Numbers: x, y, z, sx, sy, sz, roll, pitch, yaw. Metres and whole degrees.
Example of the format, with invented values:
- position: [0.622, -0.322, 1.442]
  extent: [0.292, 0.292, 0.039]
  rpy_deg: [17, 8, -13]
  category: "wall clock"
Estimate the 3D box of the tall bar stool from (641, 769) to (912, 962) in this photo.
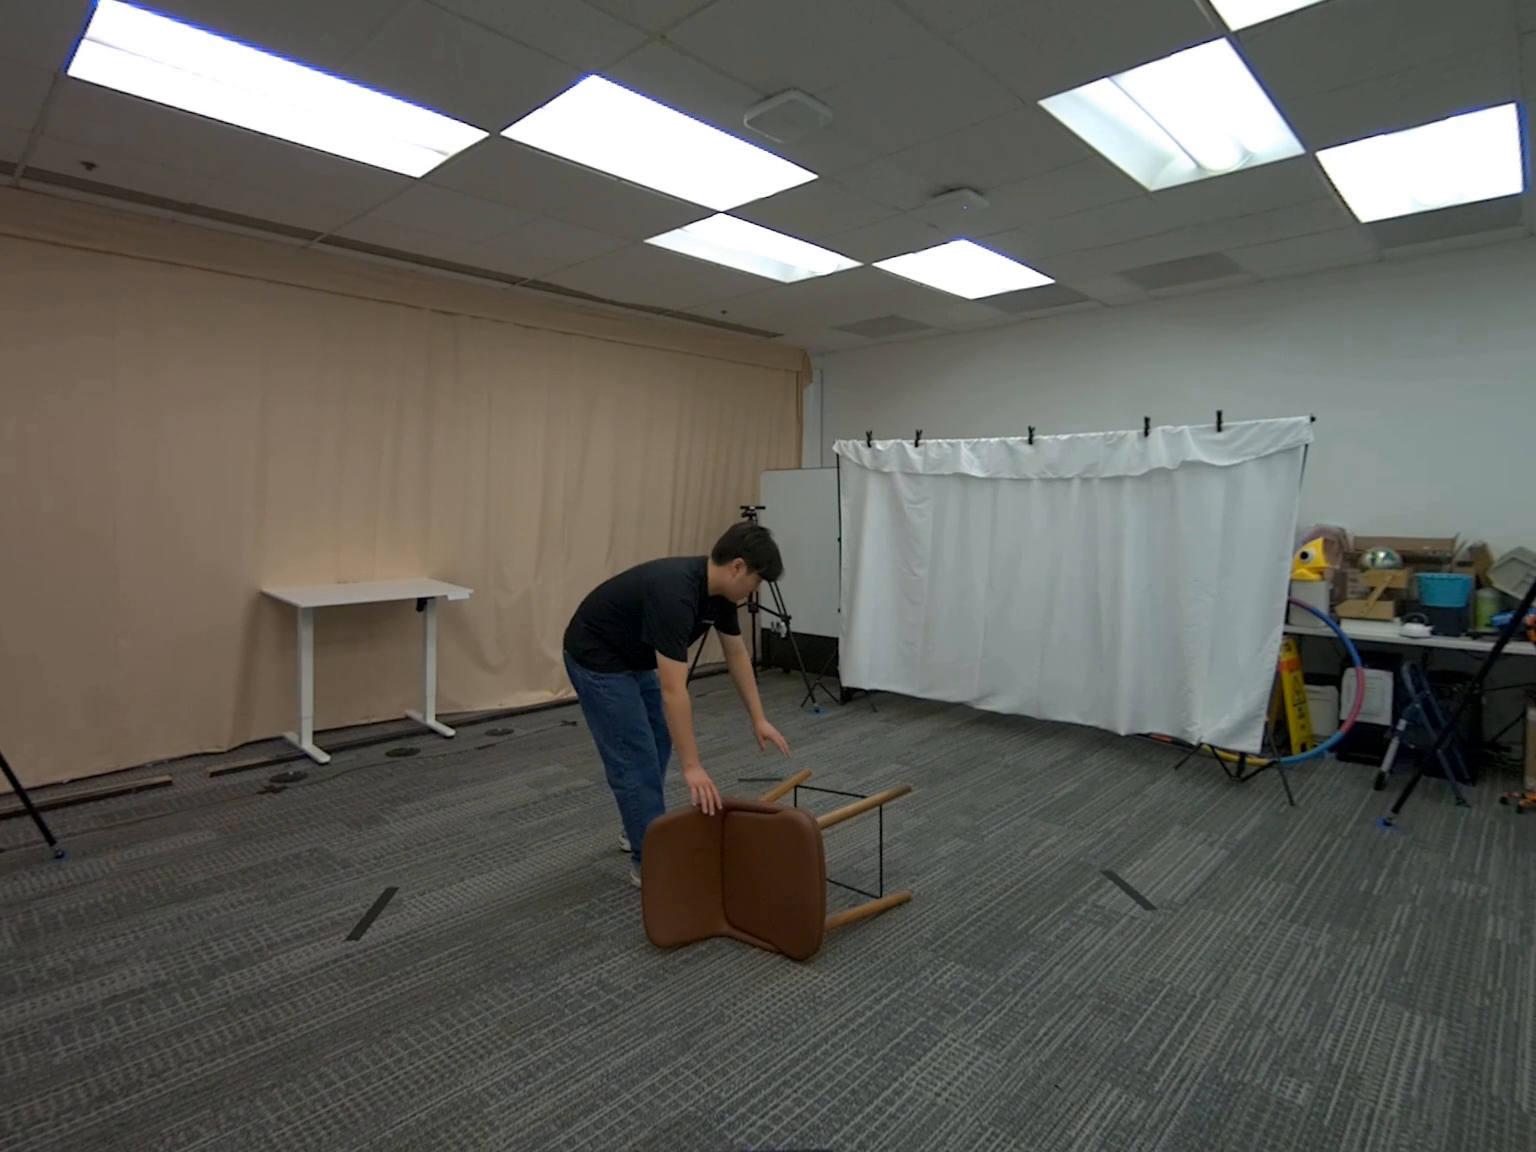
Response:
- position: [0.064, 0.942, 2.786]
  extent: [0.483, 0.456, 0.862]
  rpy_deg: [1, 2, 40]
  category: "tall bar stool"
